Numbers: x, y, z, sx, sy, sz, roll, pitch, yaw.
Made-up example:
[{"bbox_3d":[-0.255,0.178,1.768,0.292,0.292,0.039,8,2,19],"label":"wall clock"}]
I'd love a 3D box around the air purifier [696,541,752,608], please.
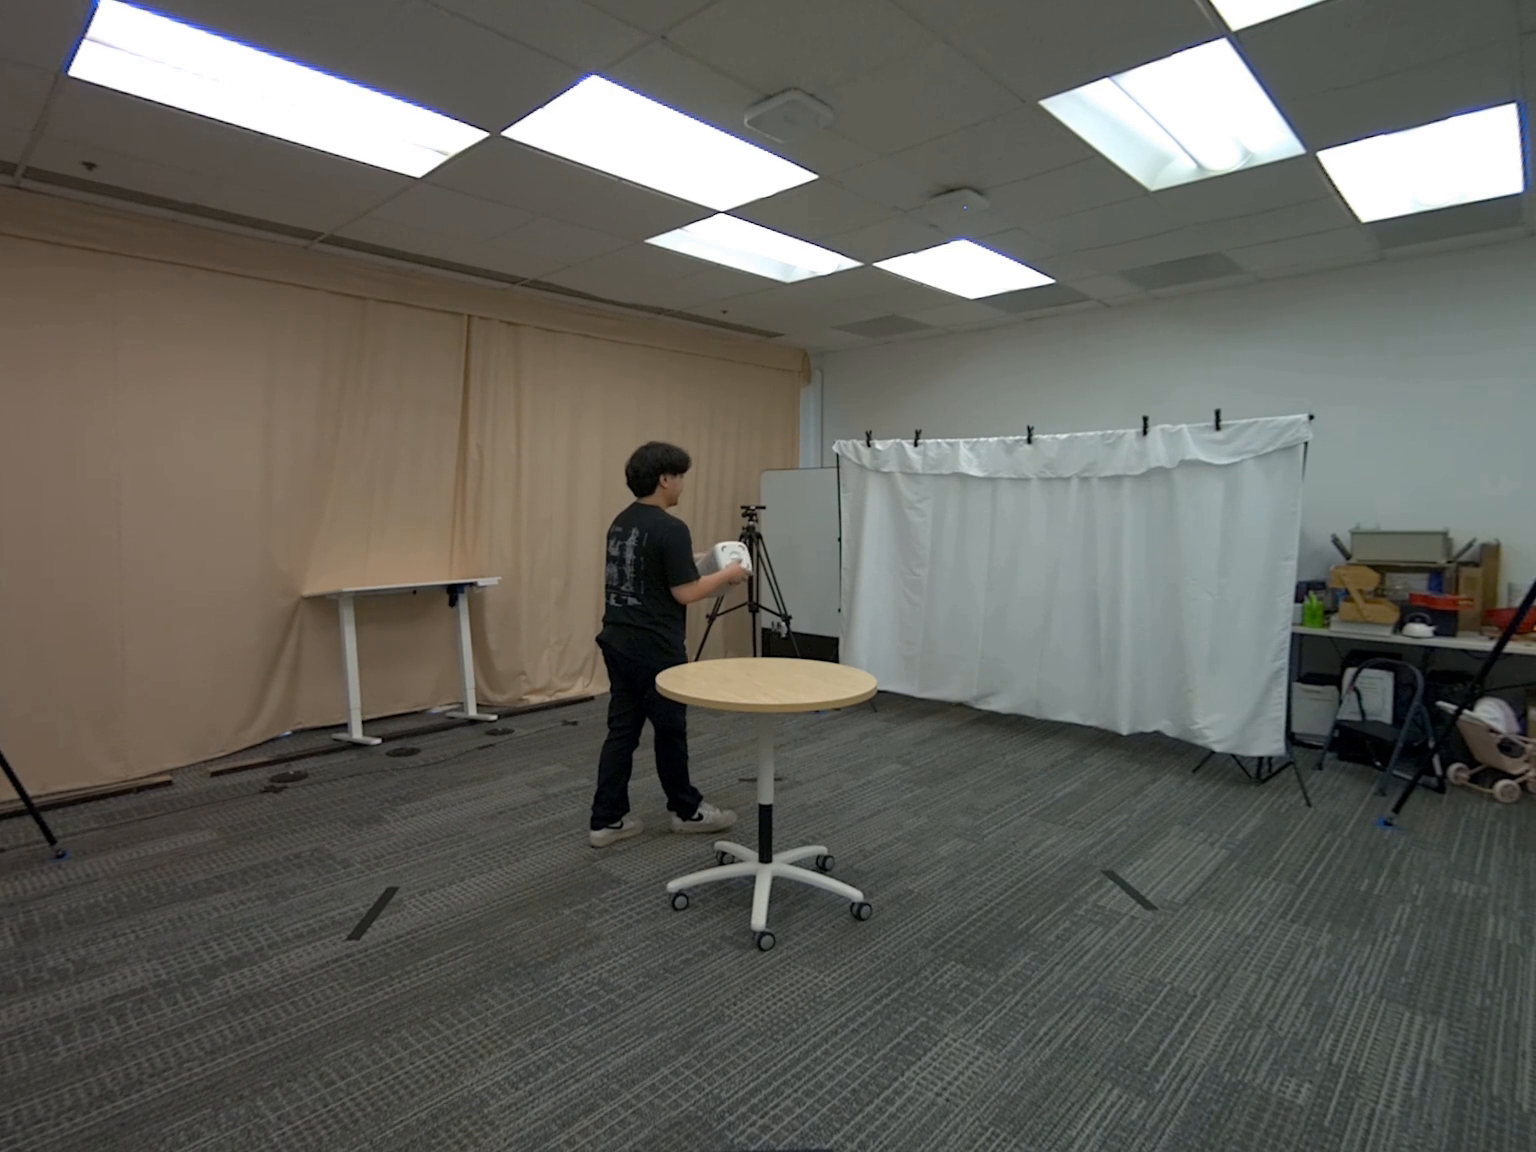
[{"bbox_3d":[-0.199,-0.029,3.741,0.167,0.174,0.268,-2,-23,-32],"label":"air purifier"}]
